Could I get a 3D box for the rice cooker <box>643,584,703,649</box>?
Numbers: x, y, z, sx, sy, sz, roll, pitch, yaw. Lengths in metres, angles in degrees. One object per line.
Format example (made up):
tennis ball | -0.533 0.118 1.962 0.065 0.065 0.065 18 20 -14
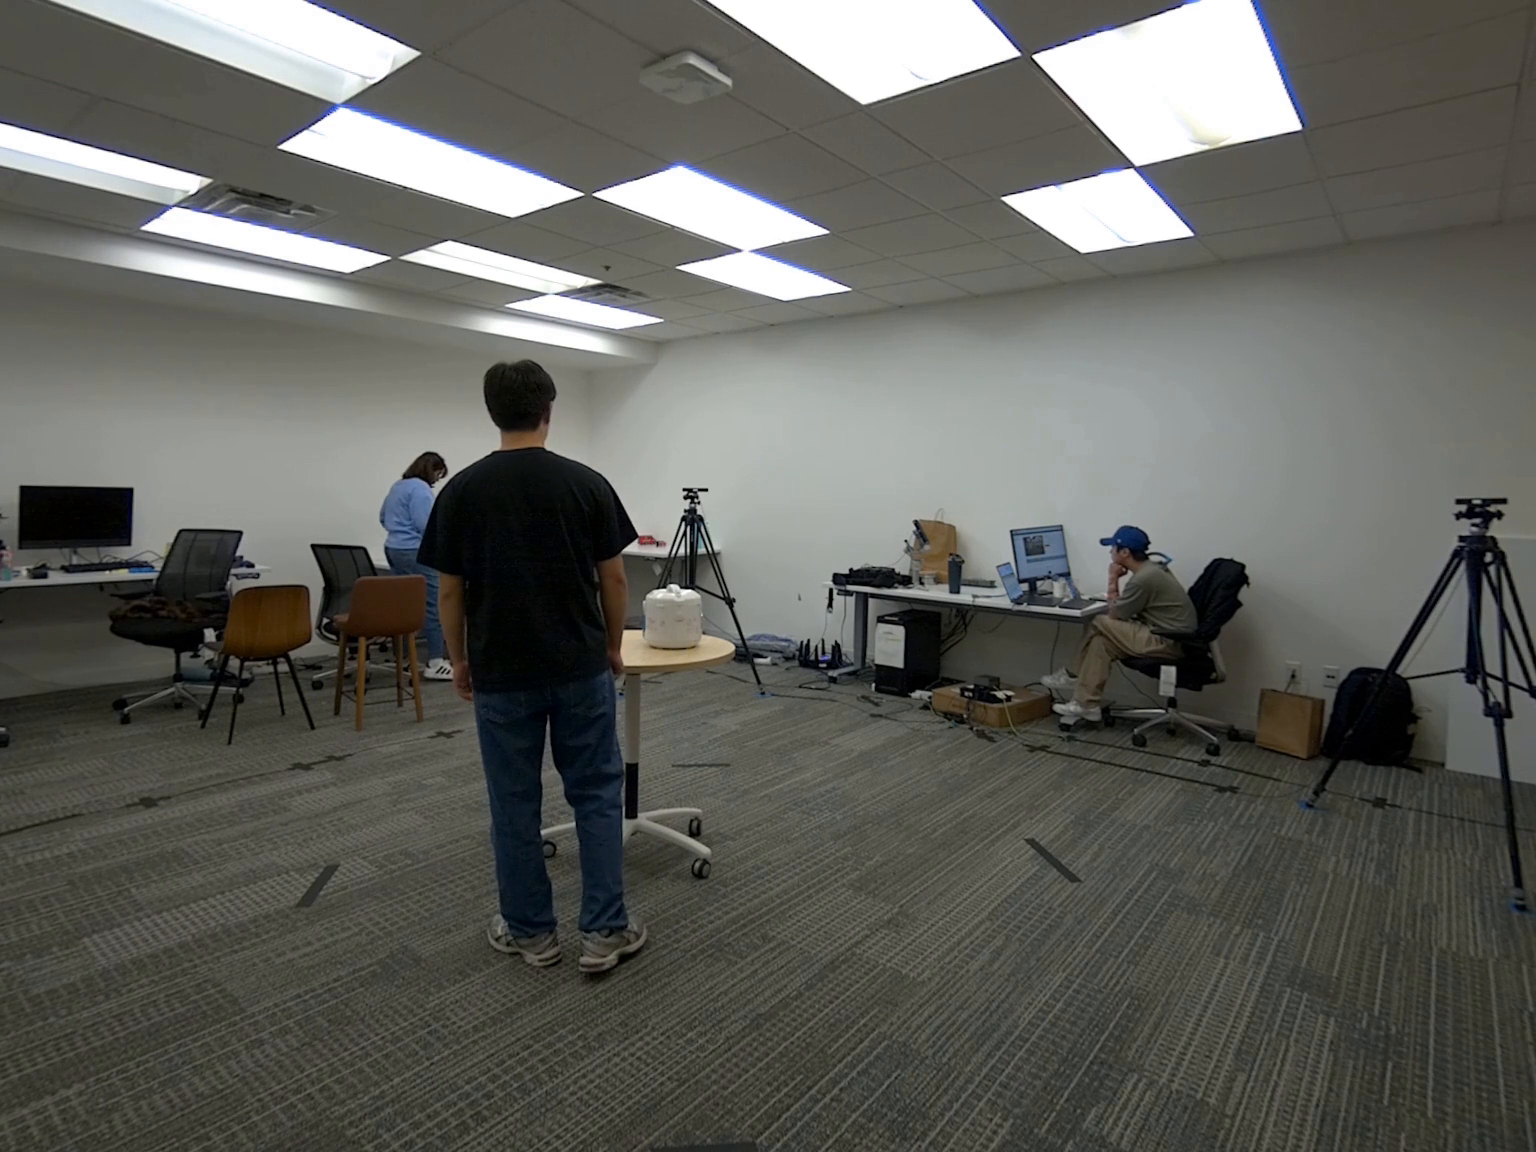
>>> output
rice cooker | -0.363 0.142 3.211 0.214 0.232 0.225 0 4 -17
